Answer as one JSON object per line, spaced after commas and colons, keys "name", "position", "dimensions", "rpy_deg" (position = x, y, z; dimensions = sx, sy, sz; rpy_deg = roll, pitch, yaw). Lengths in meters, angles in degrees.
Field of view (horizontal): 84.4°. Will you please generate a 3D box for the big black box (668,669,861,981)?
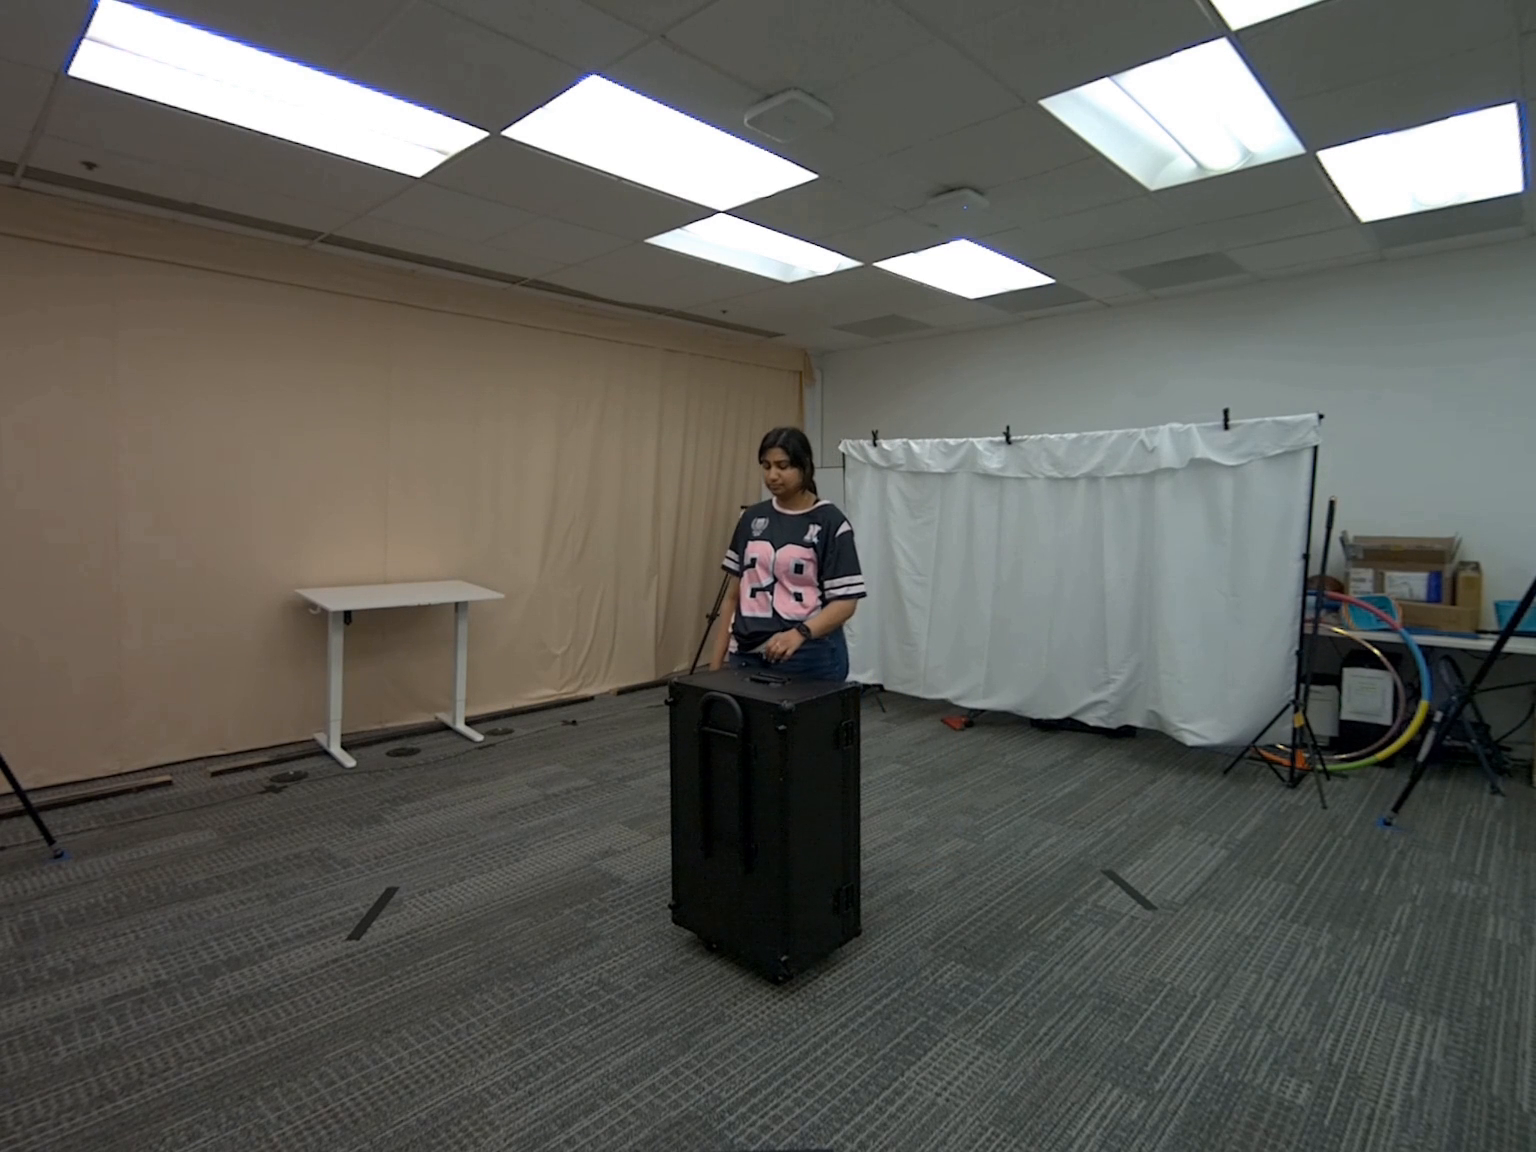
{"name": "big black box", "position": [-0.004, 0.752, 2.604], "dimensions": [0.541, 0.866, 0.373], "rpy_deg": [3, 5, 42]}
